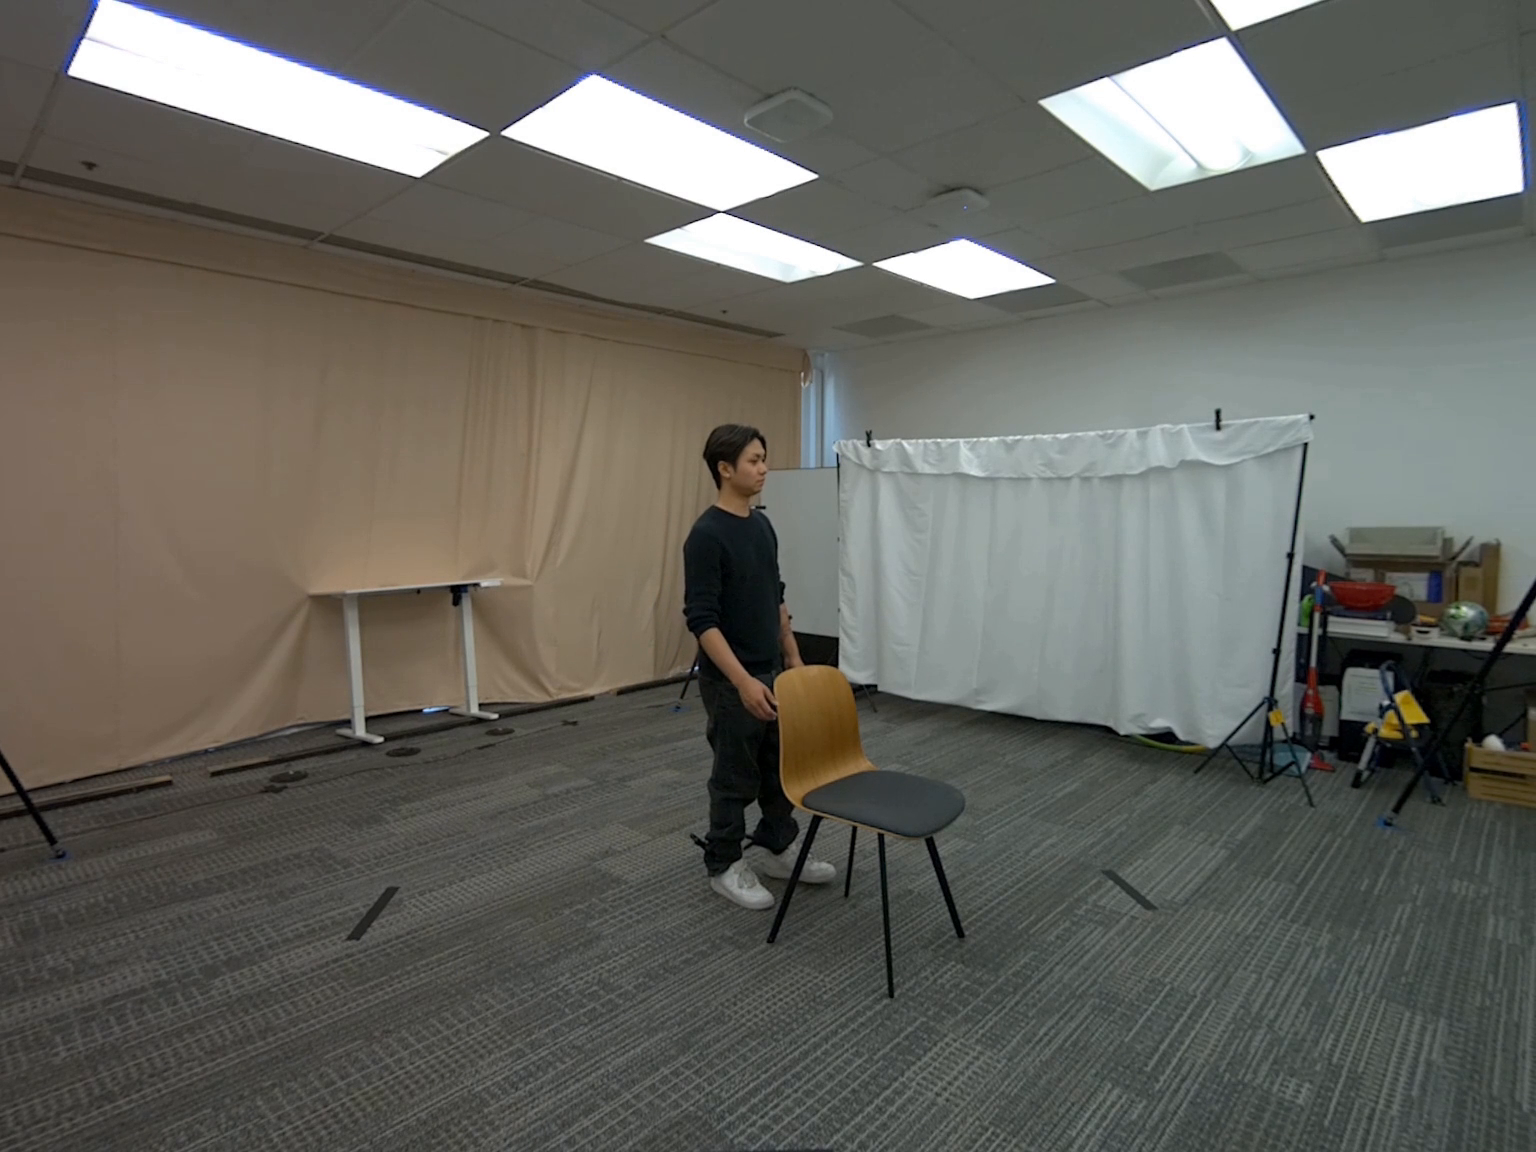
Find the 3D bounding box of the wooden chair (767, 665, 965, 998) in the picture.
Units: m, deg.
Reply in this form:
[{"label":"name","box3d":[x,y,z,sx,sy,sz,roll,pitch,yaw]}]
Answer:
[{"label":"wooden chair","box3d":[0.329,0.744,2.660,0.539,0.877,0.463,-4,0,41]}]
